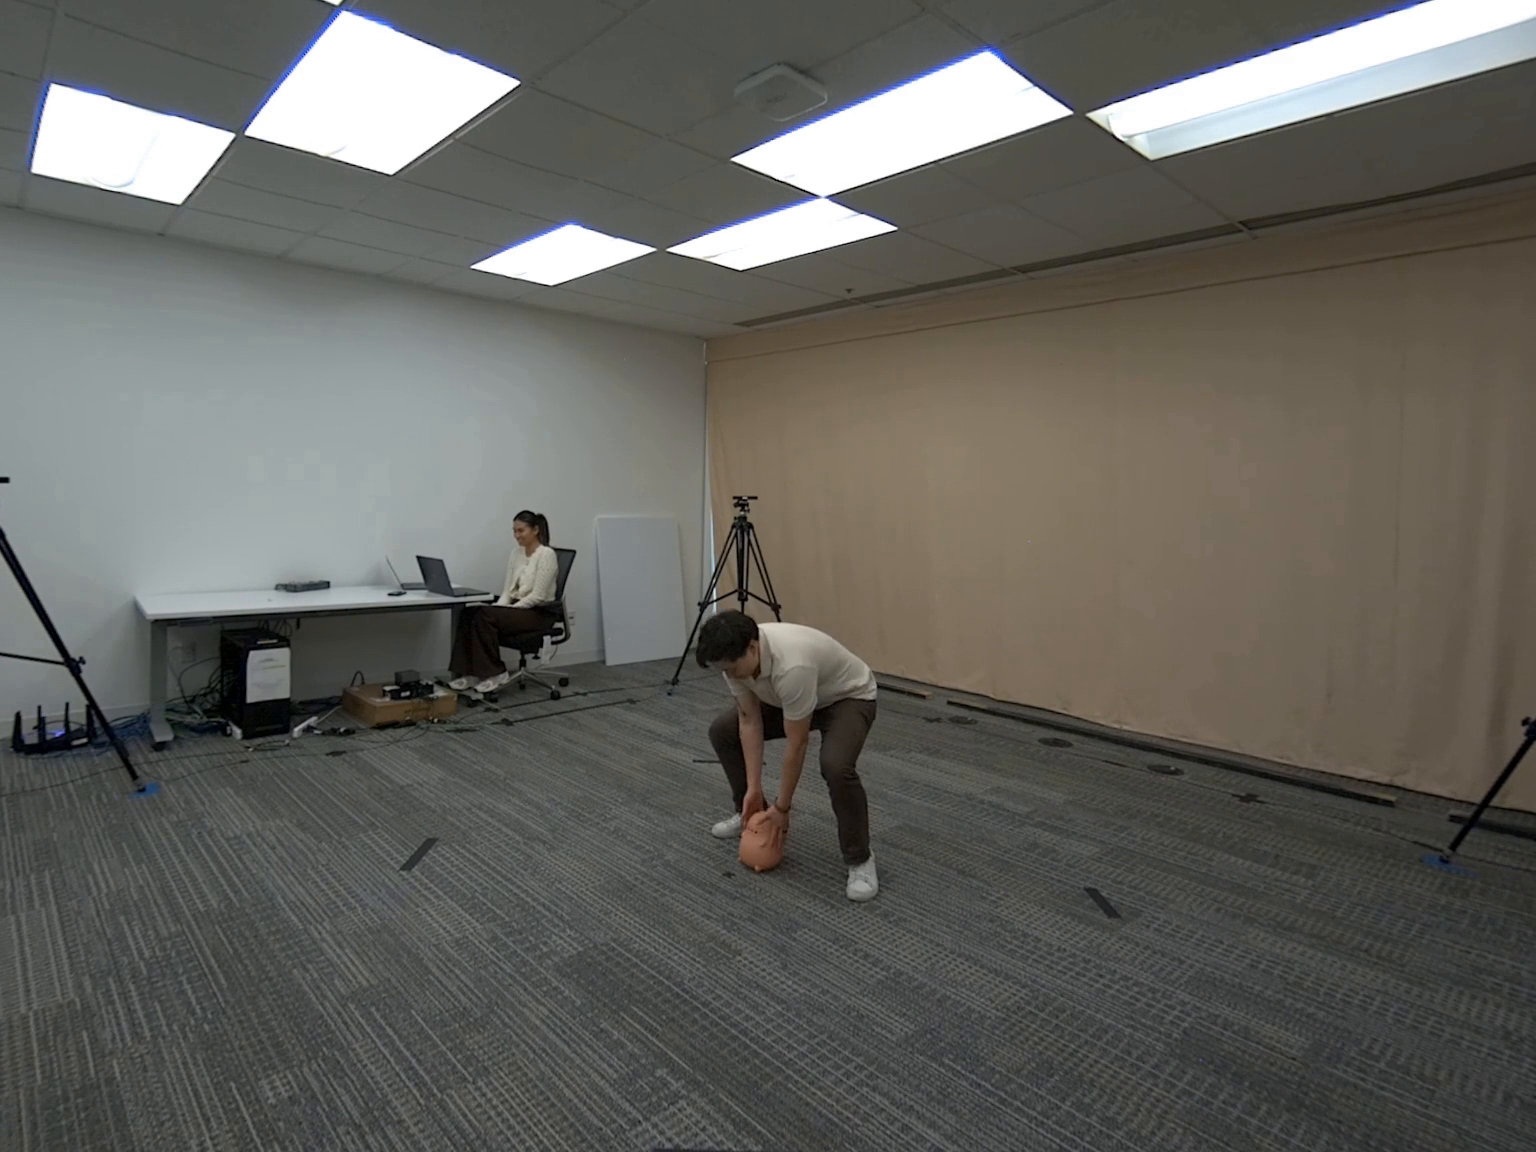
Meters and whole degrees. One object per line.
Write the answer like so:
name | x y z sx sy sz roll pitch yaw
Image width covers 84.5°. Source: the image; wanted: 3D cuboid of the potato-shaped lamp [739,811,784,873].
potato-shaped lamp | -0.032 0.994 3.189 0.167 0.197 0.169 0 4 -39
